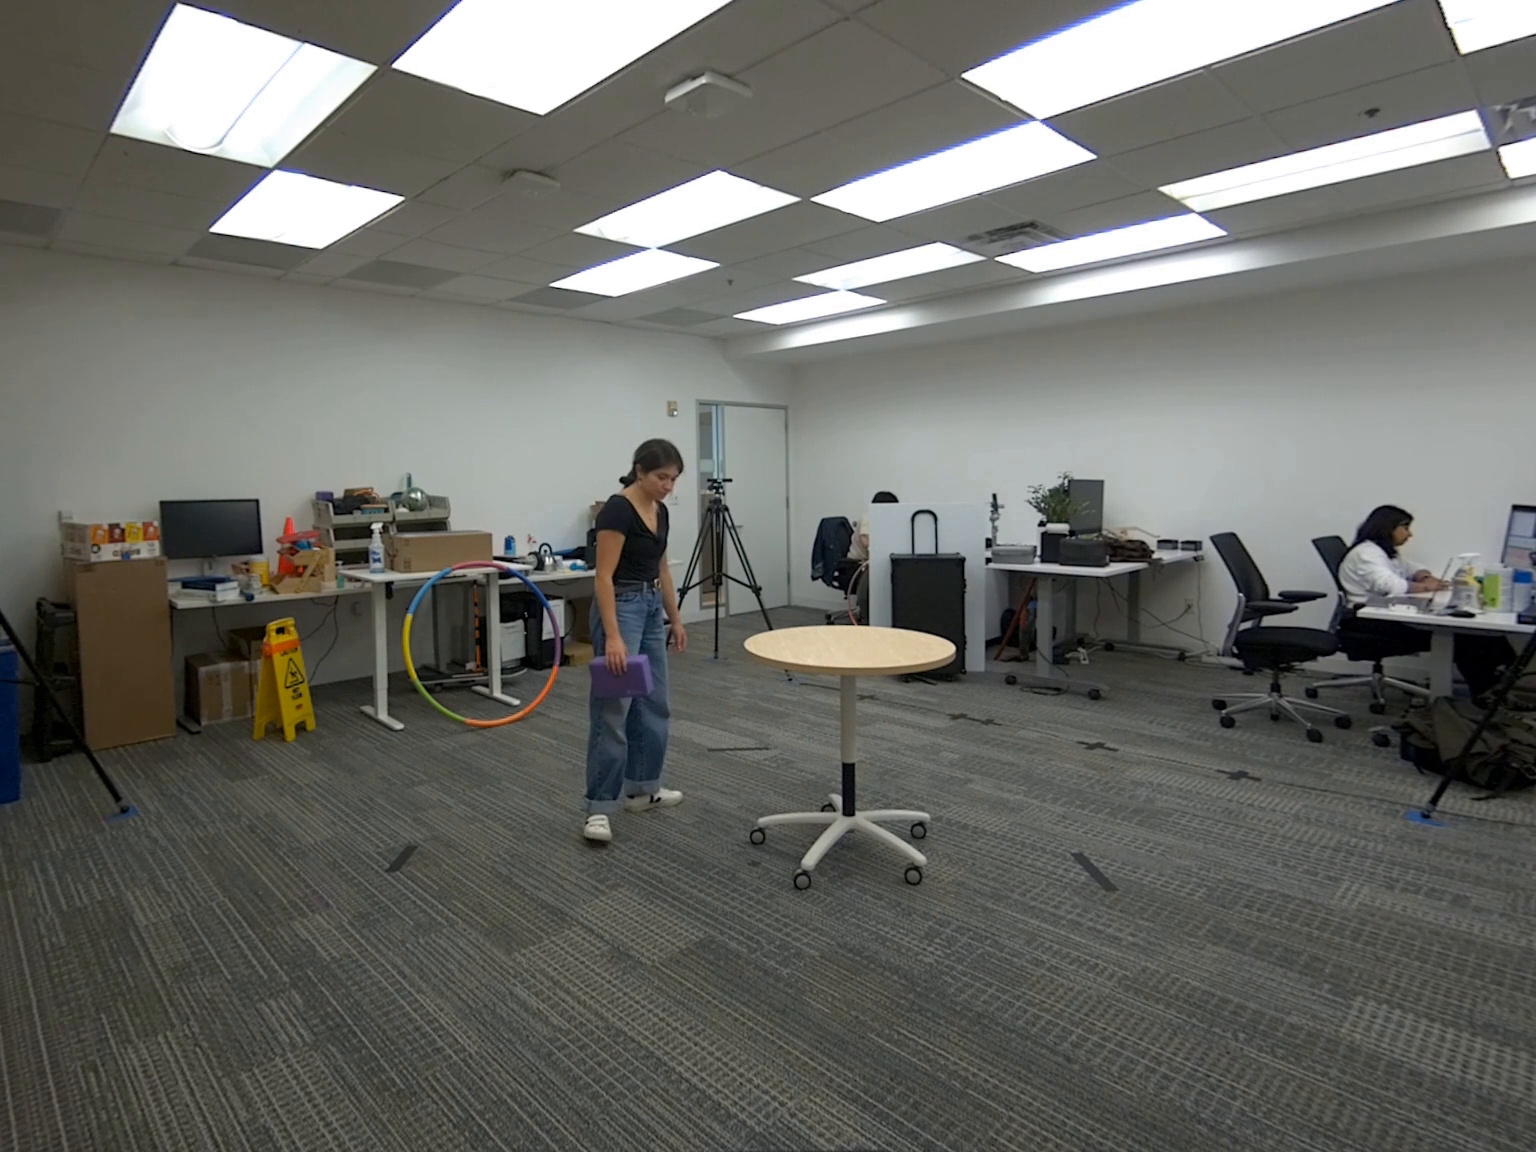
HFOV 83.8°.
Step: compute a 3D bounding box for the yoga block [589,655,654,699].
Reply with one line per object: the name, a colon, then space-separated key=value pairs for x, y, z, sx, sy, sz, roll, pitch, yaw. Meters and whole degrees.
yoga block: x=-0.569 y=0.393 z=3.311 sx=0.233 sy=0.148 sz=0.076 roll=-5 pitch=9 yaw=21
